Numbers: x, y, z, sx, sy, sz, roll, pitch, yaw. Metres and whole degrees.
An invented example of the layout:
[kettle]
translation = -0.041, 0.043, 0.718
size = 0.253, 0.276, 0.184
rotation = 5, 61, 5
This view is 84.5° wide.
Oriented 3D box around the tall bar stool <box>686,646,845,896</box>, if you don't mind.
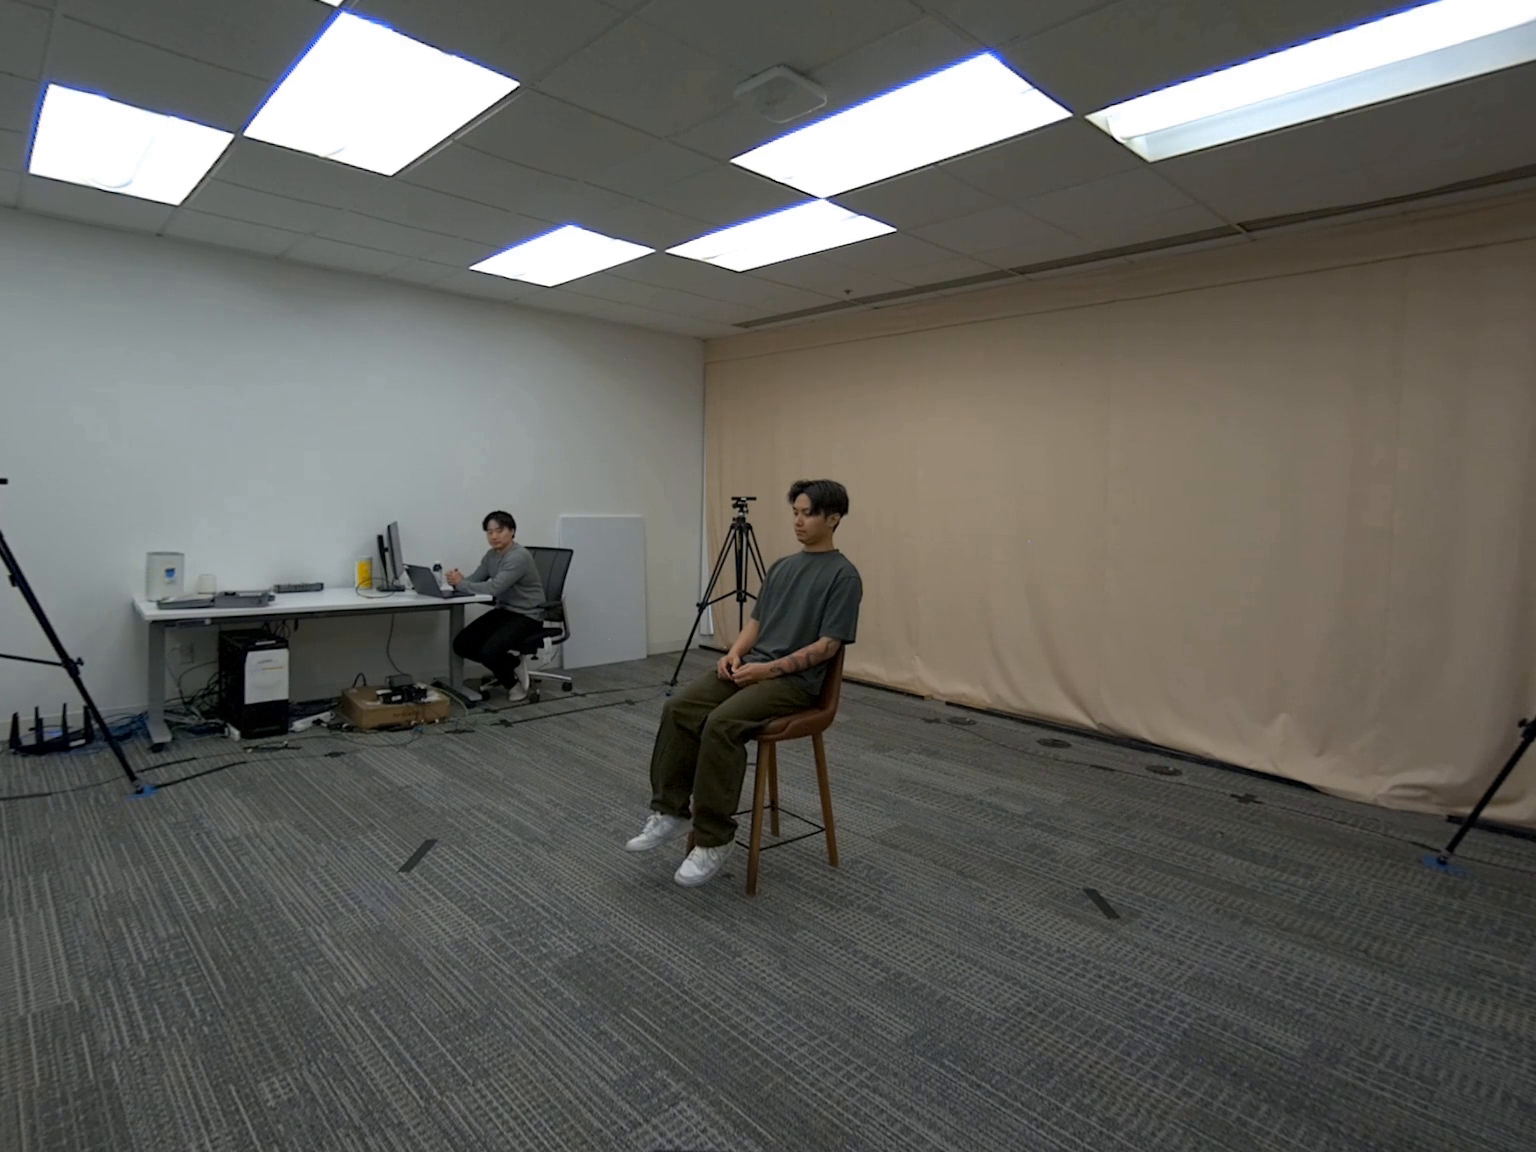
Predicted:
[tall bar stool]
translation = -0.004, 0.666, 3.223
size = 0.456, 0.889, 0.468
rotation = 2, 2, -39
